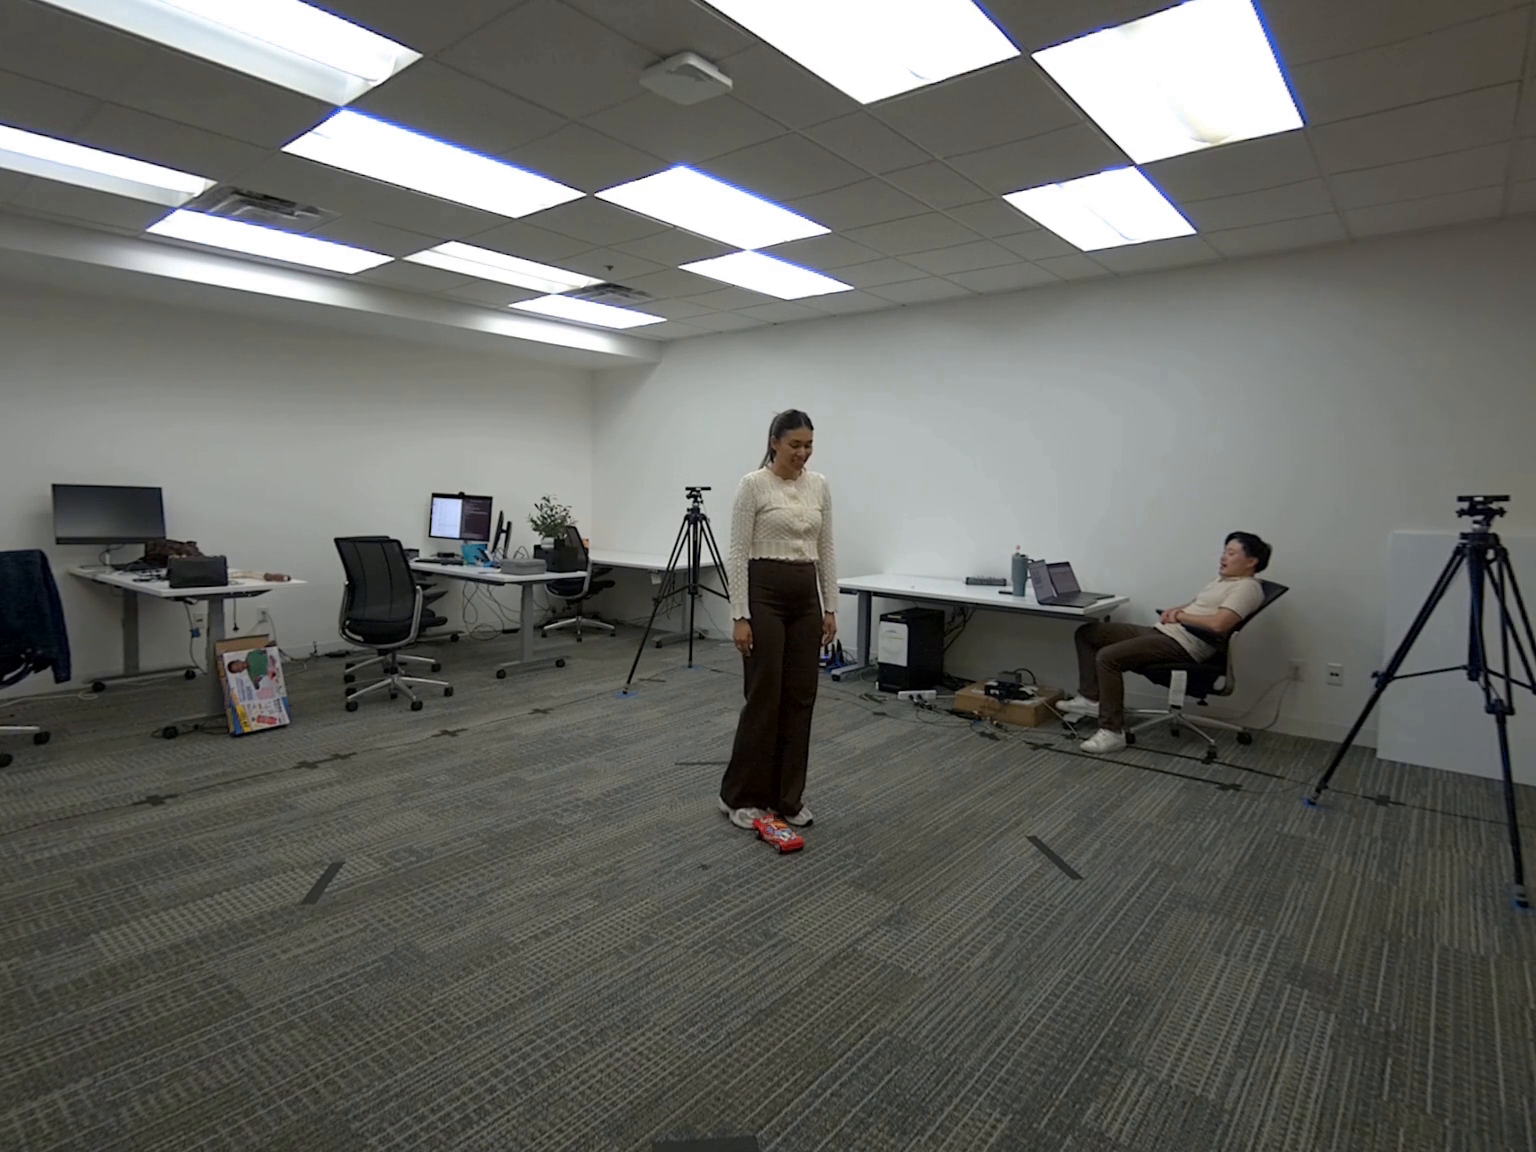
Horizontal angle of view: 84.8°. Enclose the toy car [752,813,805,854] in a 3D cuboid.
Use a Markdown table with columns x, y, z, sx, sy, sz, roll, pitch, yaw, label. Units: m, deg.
| x | y | z | sx | sy | sz | roll | pitch | yaw | label |
| --- | --- | --- | --- | --- | --- | --- | --- | --- | --- |
| 0.027 | 1.014 | 3.353 | 0.127 | 0.082 | 0.264 | -2 | 17 | -31 | toy car |
